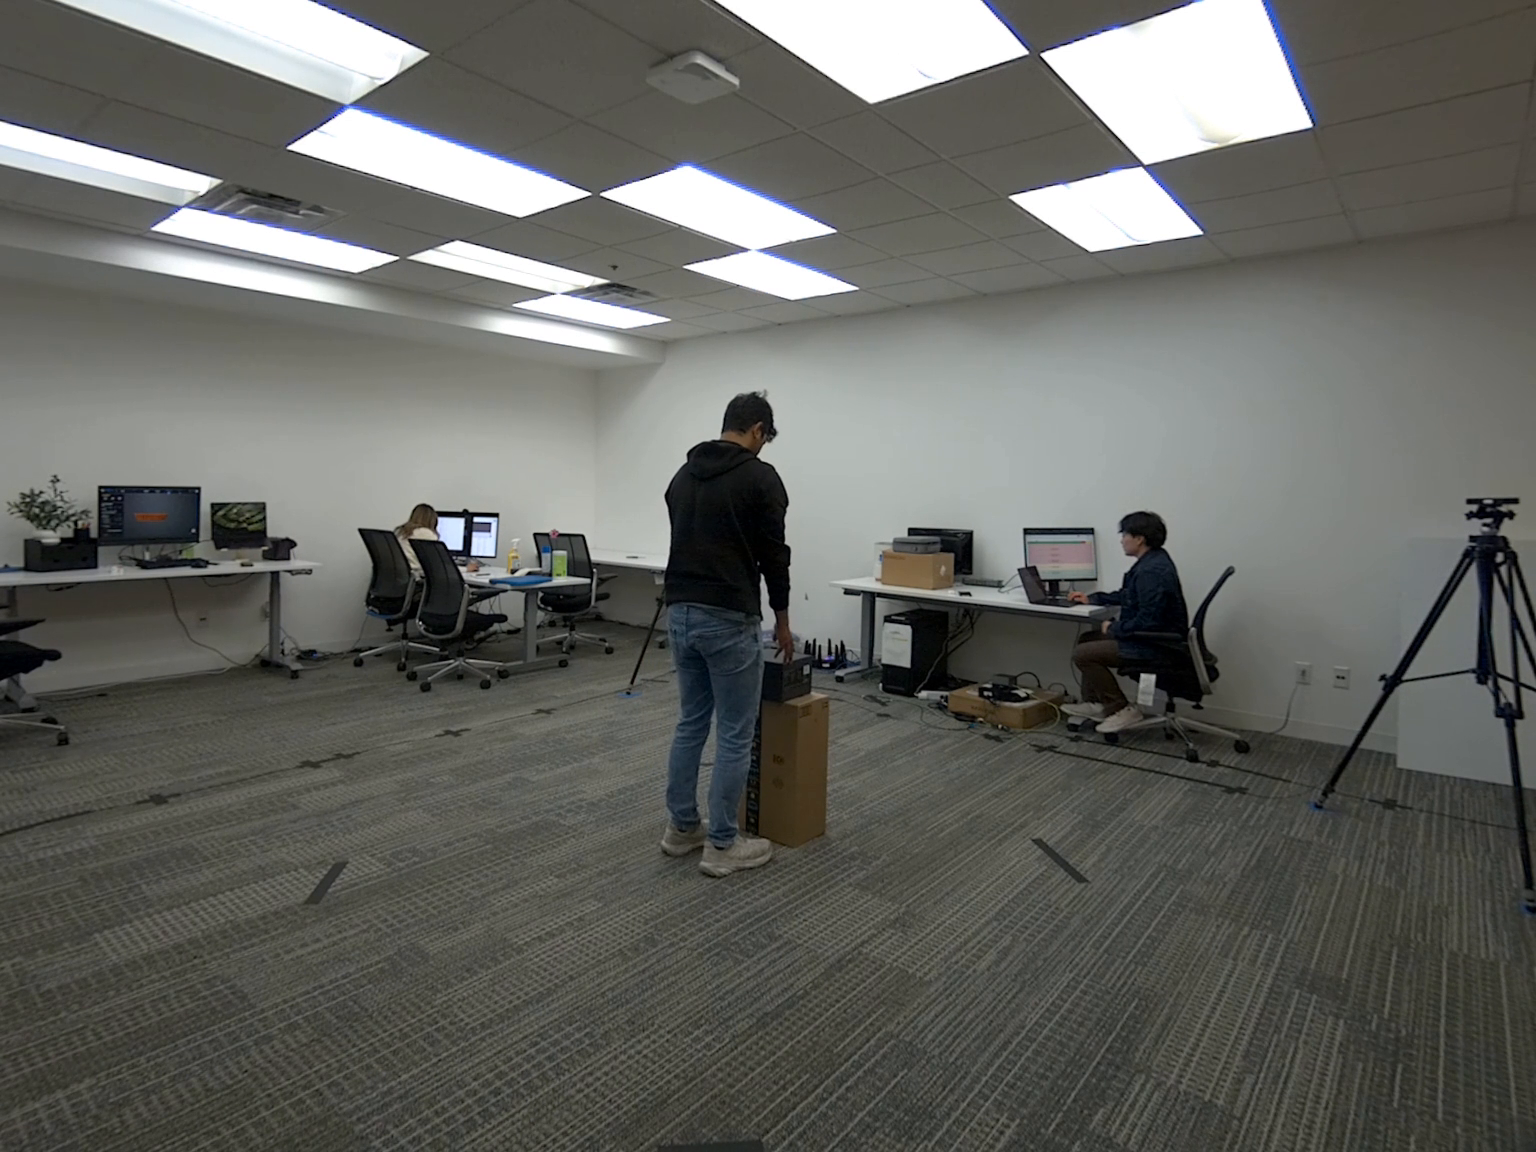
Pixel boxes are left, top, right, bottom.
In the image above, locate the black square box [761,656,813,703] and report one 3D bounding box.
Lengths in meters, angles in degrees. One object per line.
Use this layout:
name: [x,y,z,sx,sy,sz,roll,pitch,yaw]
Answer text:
black square box: [0.012,0.387,3.440,0.235,0.155,0.211,4,6,36]
